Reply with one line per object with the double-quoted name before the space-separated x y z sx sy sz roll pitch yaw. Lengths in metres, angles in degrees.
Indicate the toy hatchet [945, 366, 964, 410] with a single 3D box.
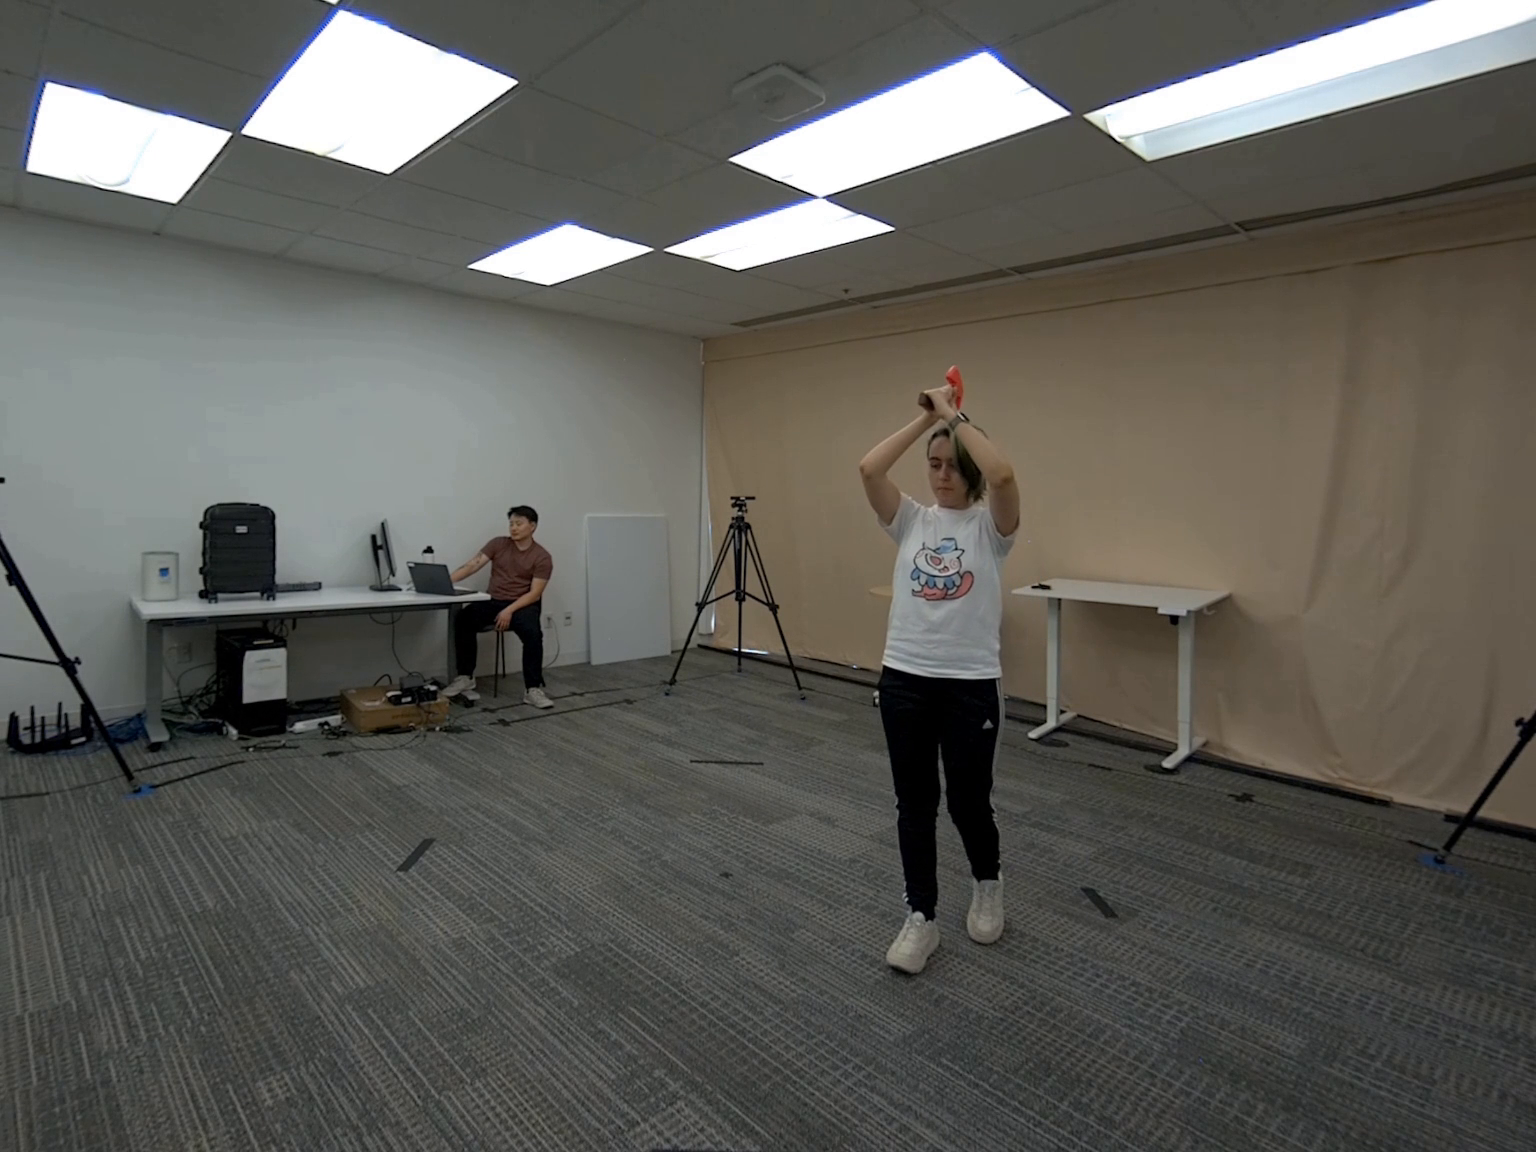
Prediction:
"toy hatchet" 0.514 -0.559 2.478 0.030 0.130 0.265 8 11 31
